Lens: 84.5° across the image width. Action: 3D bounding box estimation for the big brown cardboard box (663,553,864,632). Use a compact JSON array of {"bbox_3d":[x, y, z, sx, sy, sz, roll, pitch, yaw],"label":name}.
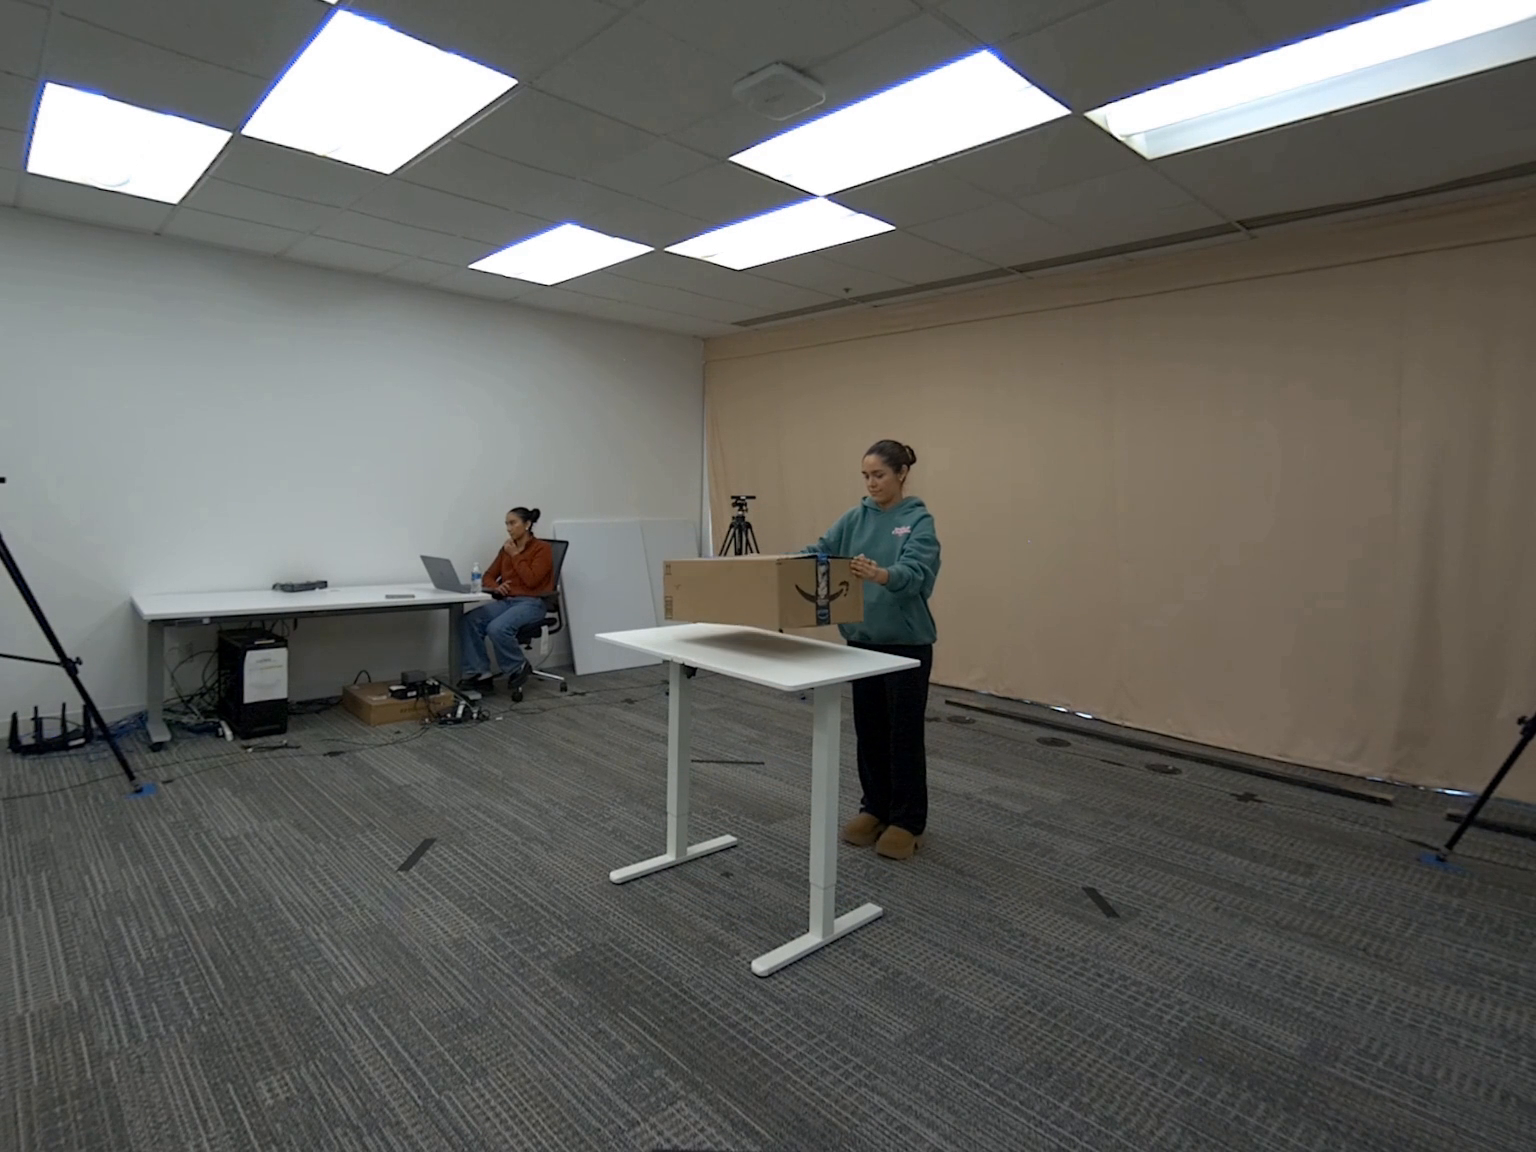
[{"bbox_3d":[-0.025,0.047,2.903,0.408,0.233,0.602,-1,0,-45],"label":"big brown cardboard box"}]
